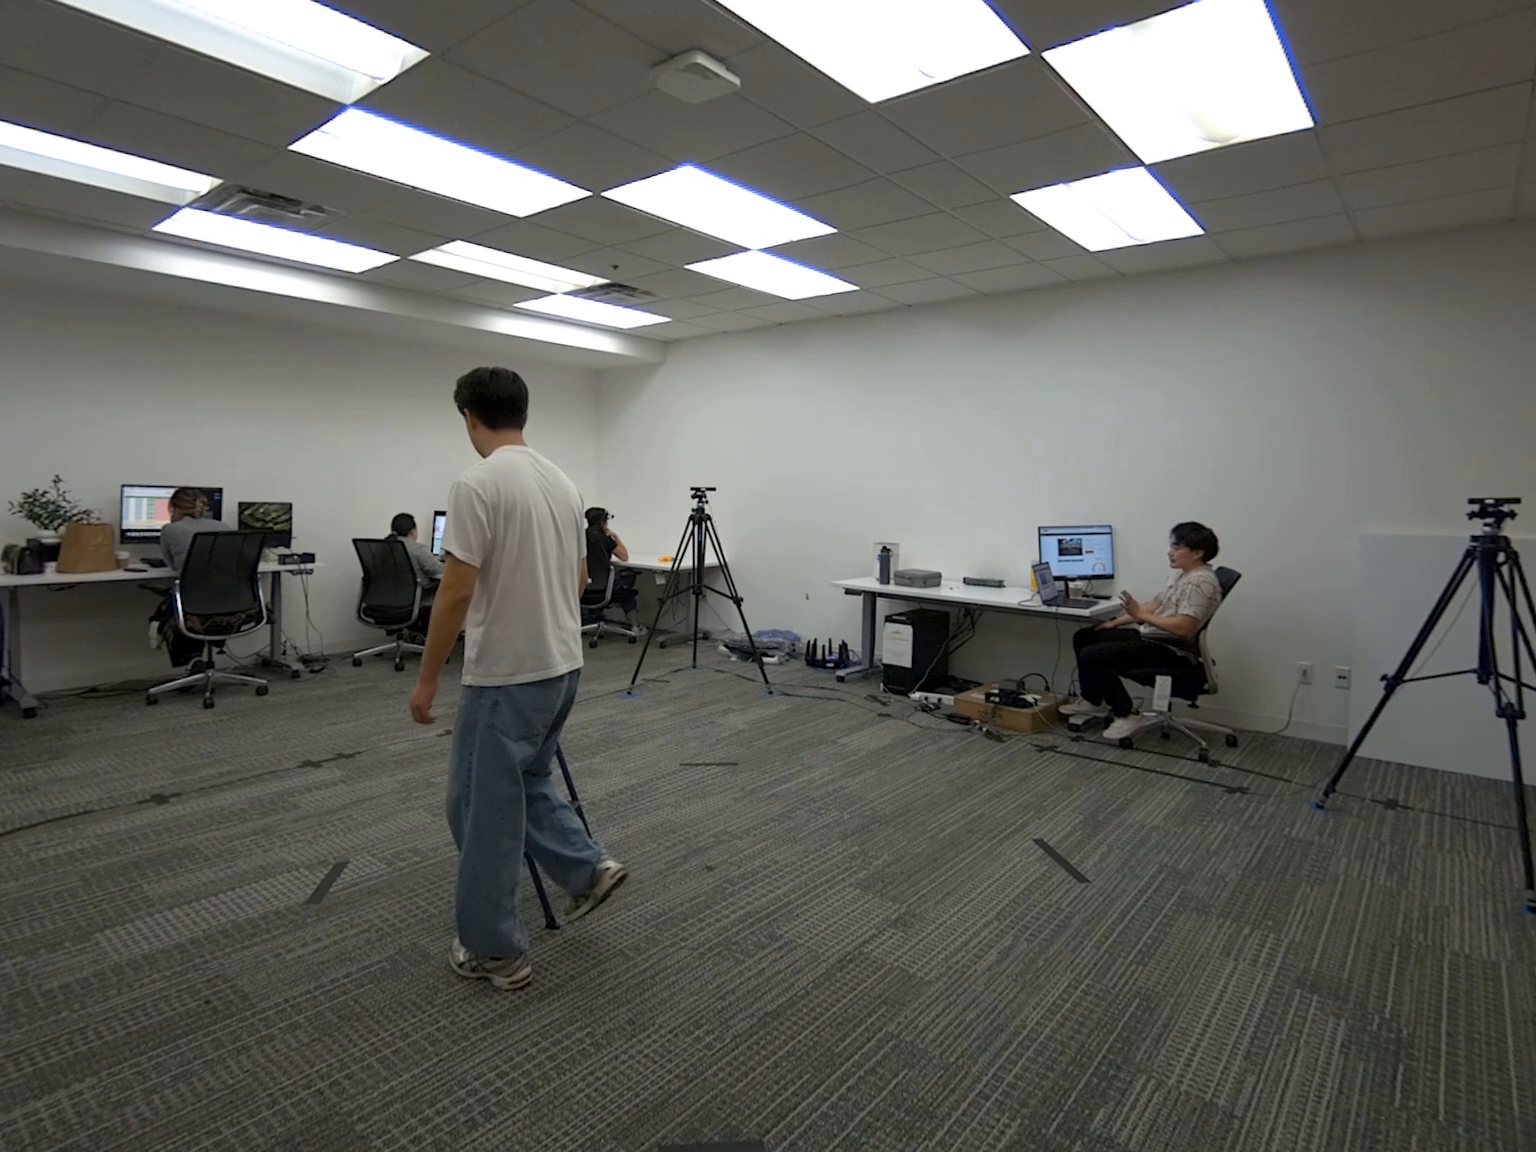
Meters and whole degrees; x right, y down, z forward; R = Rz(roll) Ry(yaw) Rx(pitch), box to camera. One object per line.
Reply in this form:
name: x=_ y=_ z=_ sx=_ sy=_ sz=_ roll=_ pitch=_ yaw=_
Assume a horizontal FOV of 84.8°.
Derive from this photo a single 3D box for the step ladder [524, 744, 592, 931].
step ladder: x=-0.793 y=0.775 z=2.887 sx=0.354 sy=0.604 sz=0.426 roll=2 pitch=4 yaw=12
